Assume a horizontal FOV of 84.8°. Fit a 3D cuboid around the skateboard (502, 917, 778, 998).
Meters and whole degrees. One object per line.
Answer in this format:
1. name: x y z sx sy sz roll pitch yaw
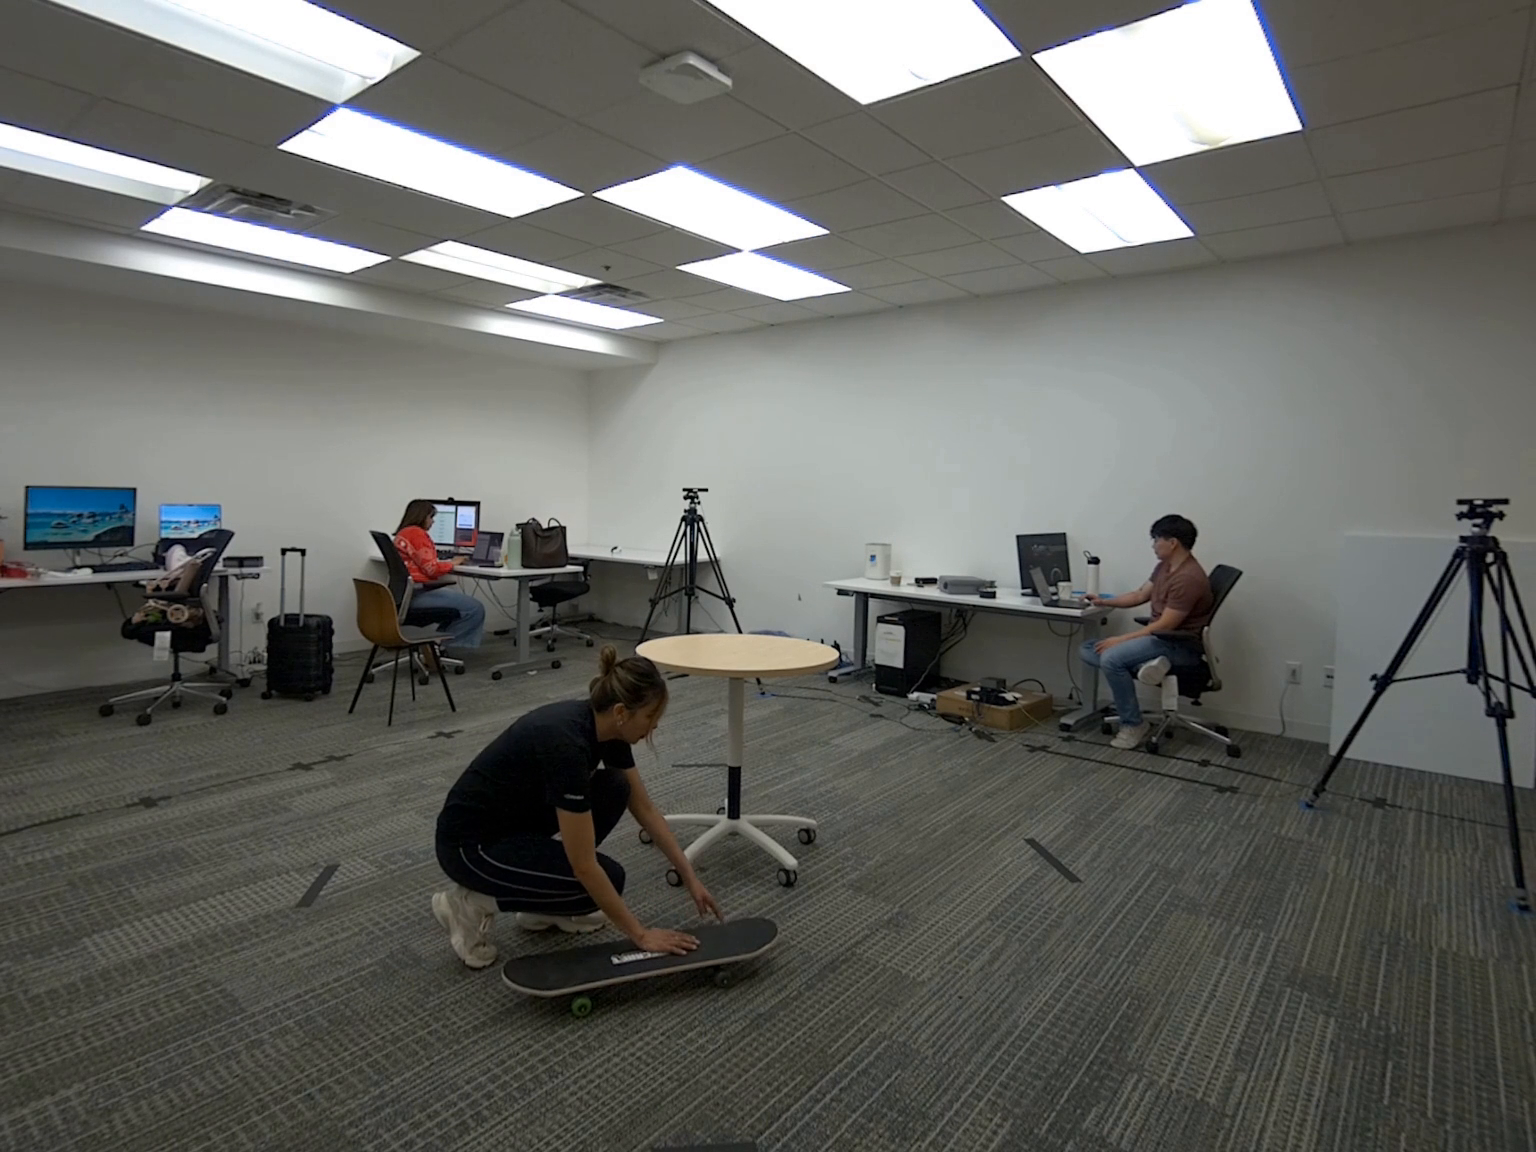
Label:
1. skateboard: -0.331 1.081 2.380 0.769 0.110 0.198 -2 6 -21
